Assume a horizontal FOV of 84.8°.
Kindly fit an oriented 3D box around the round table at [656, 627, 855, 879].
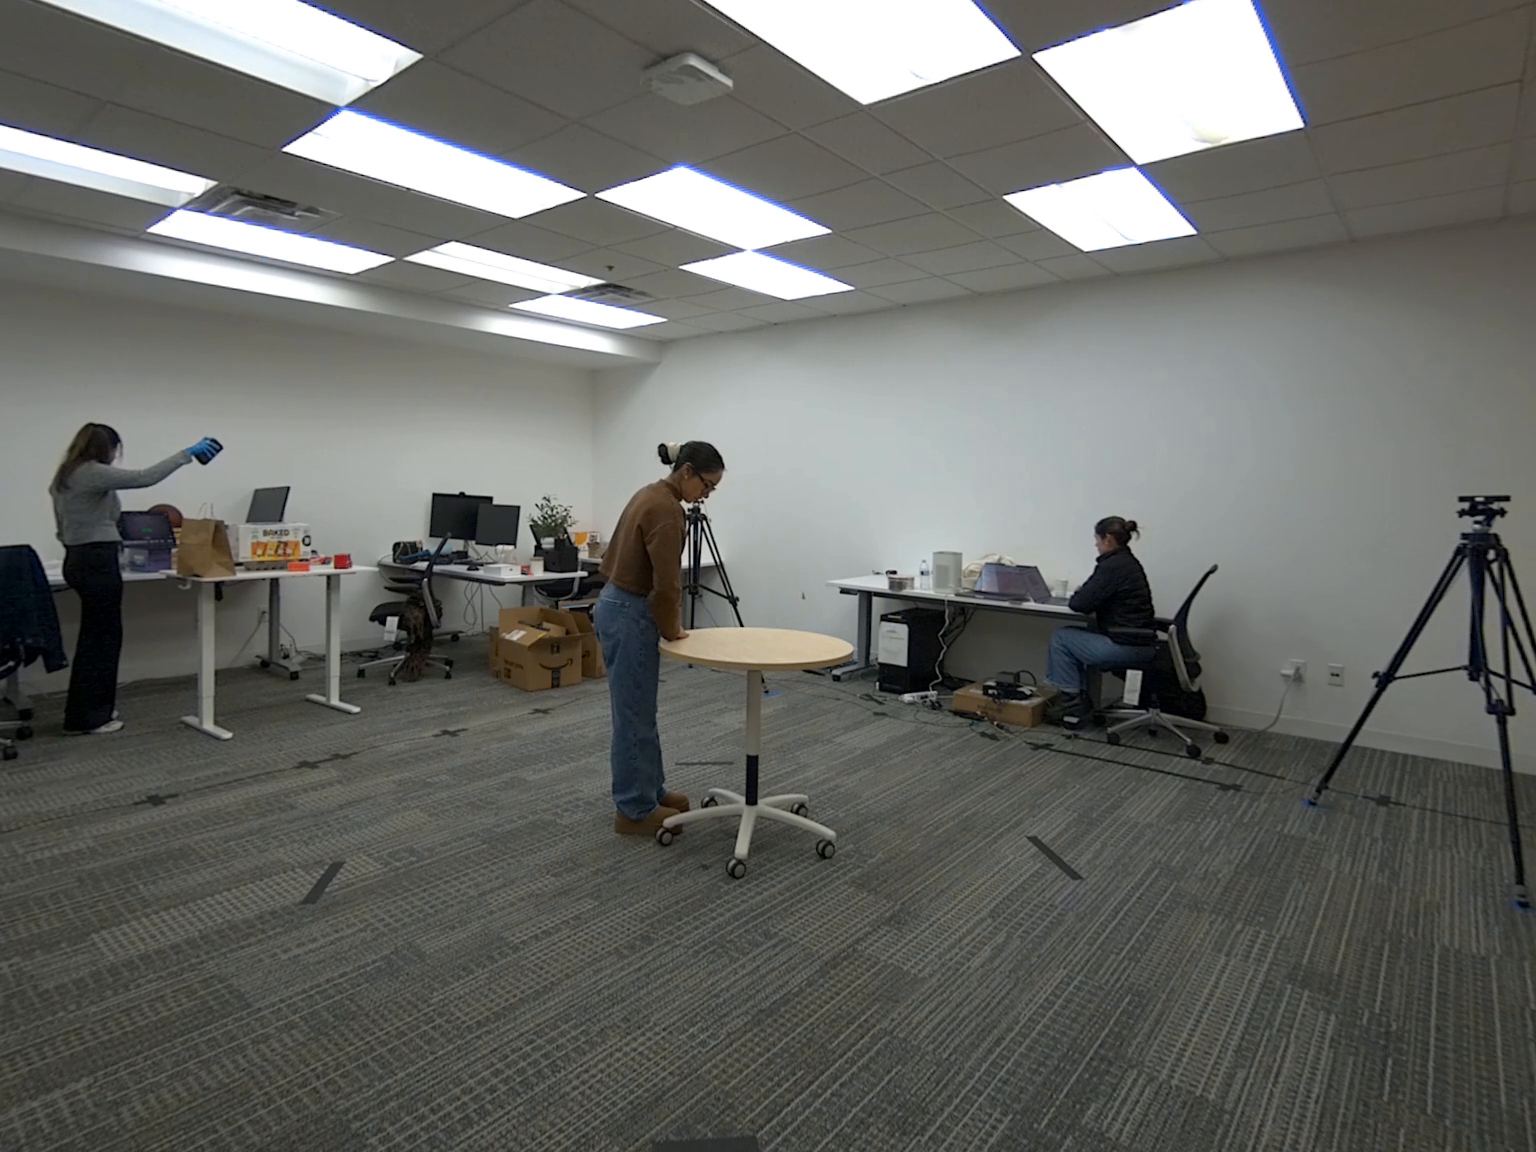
[{"bbox_3d":[-0.066,0.658,3.363,0.763,0.791,0.768,1,4,-2],"label":"round table"}]
